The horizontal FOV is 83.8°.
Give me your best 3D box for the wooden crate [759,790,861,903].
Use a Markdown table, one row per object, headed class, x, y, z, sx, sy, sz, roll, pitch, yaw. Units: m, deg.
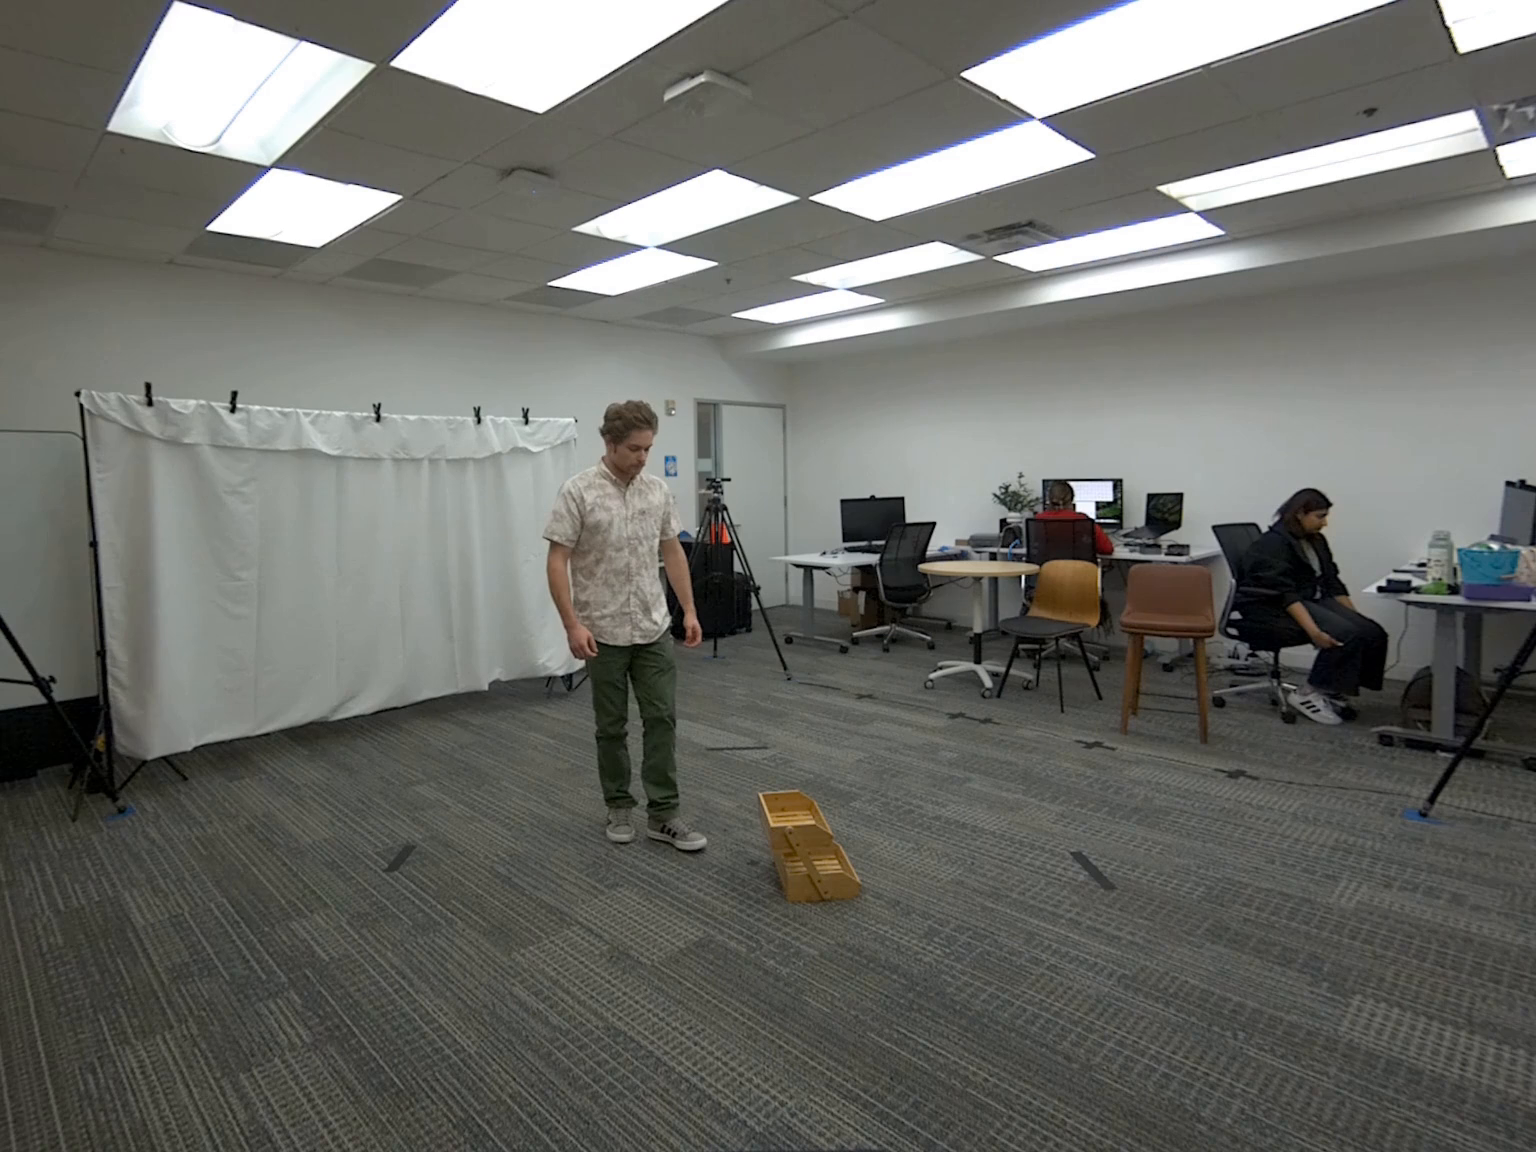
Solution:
| class | x | y | z | sx | sy | sz | roll | pitch | yaw |
| --- | --- | --- | --- | --- | --- | --- | --- | --- | --- |
| wooden crate | 0.149 | 0.920 | 2.957 | 0.300 | 0.272 | 0.328 | -2 | 5 | -7 |
